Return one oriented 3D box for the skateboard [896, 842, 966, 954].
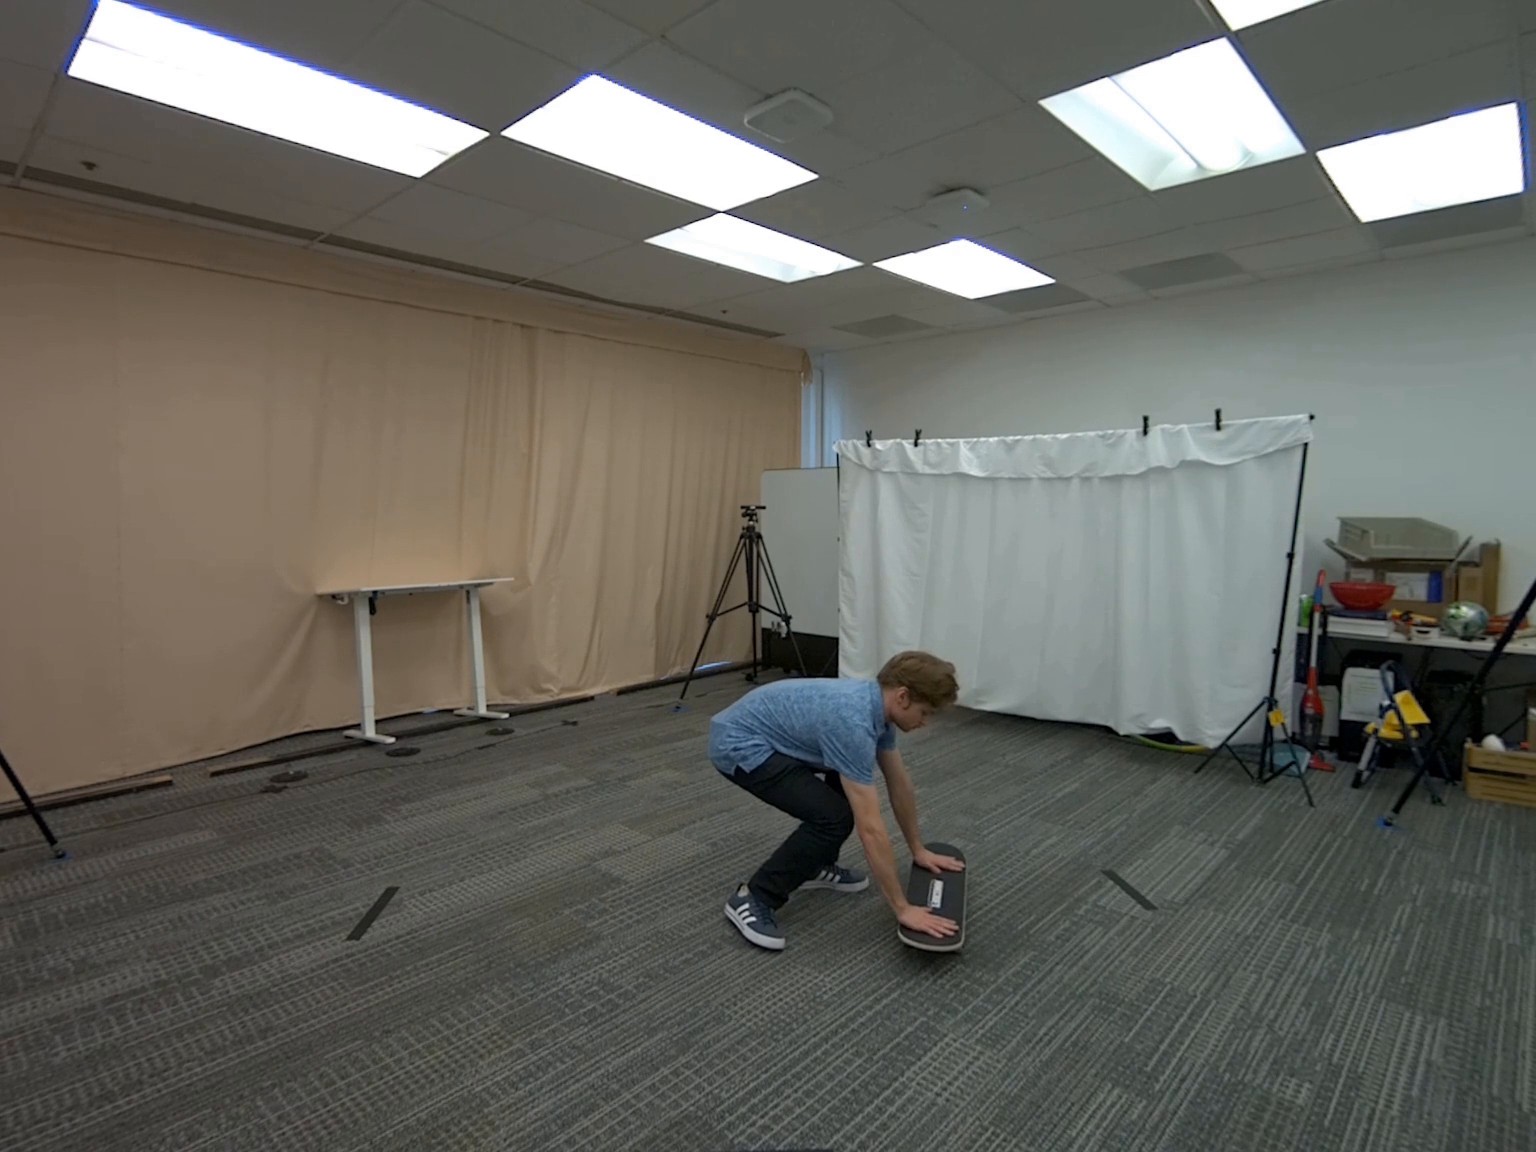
[{"bbox_3d":[0.566,1.097,2.830,0.197,0.110,0.774,2,5,14],"label":"skateboard"}]
